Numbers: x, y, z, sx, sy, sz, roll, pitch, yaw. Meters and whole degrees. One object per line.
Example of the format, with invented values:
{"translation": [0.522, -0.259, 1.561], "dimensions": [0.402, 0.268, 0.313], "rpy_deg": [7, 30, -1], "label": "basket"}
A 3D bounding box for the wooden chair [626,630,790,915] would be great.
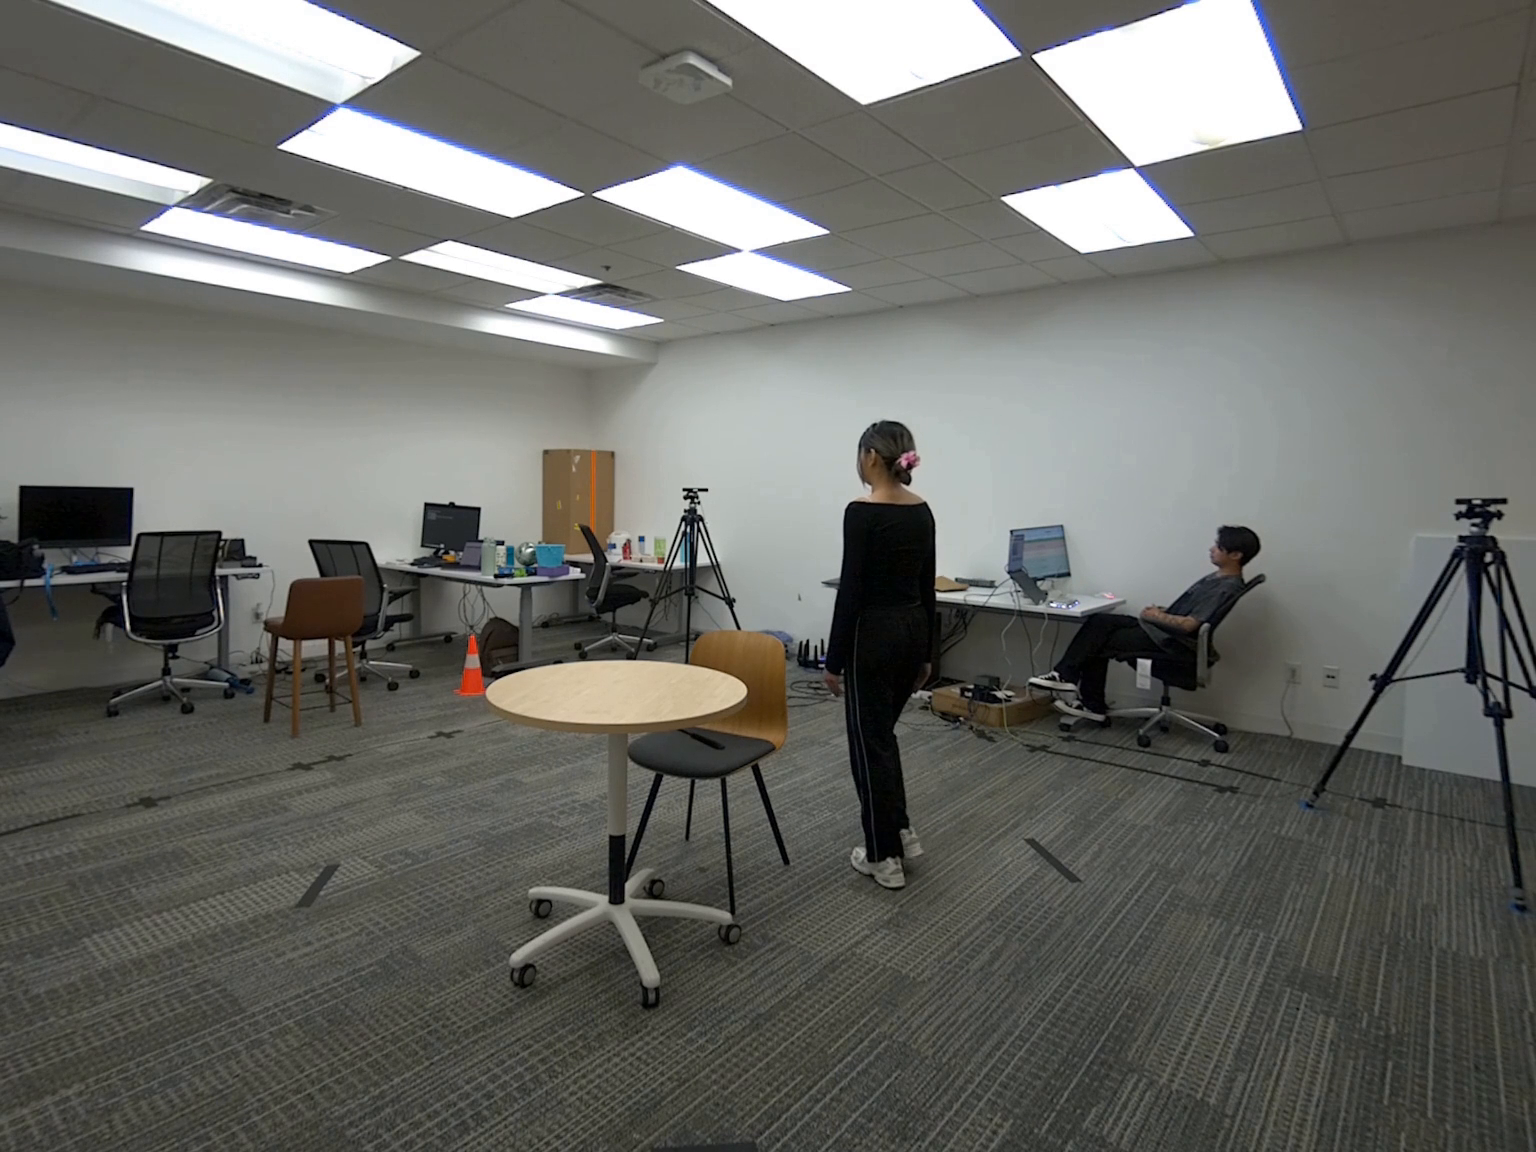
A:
{"translation": [-0.224, 0.649, 3.045], "dimensions": [0.491, 0.879, 0.508], "rpy_deg": [2, -1, 27], "label": "wooden chair"}
